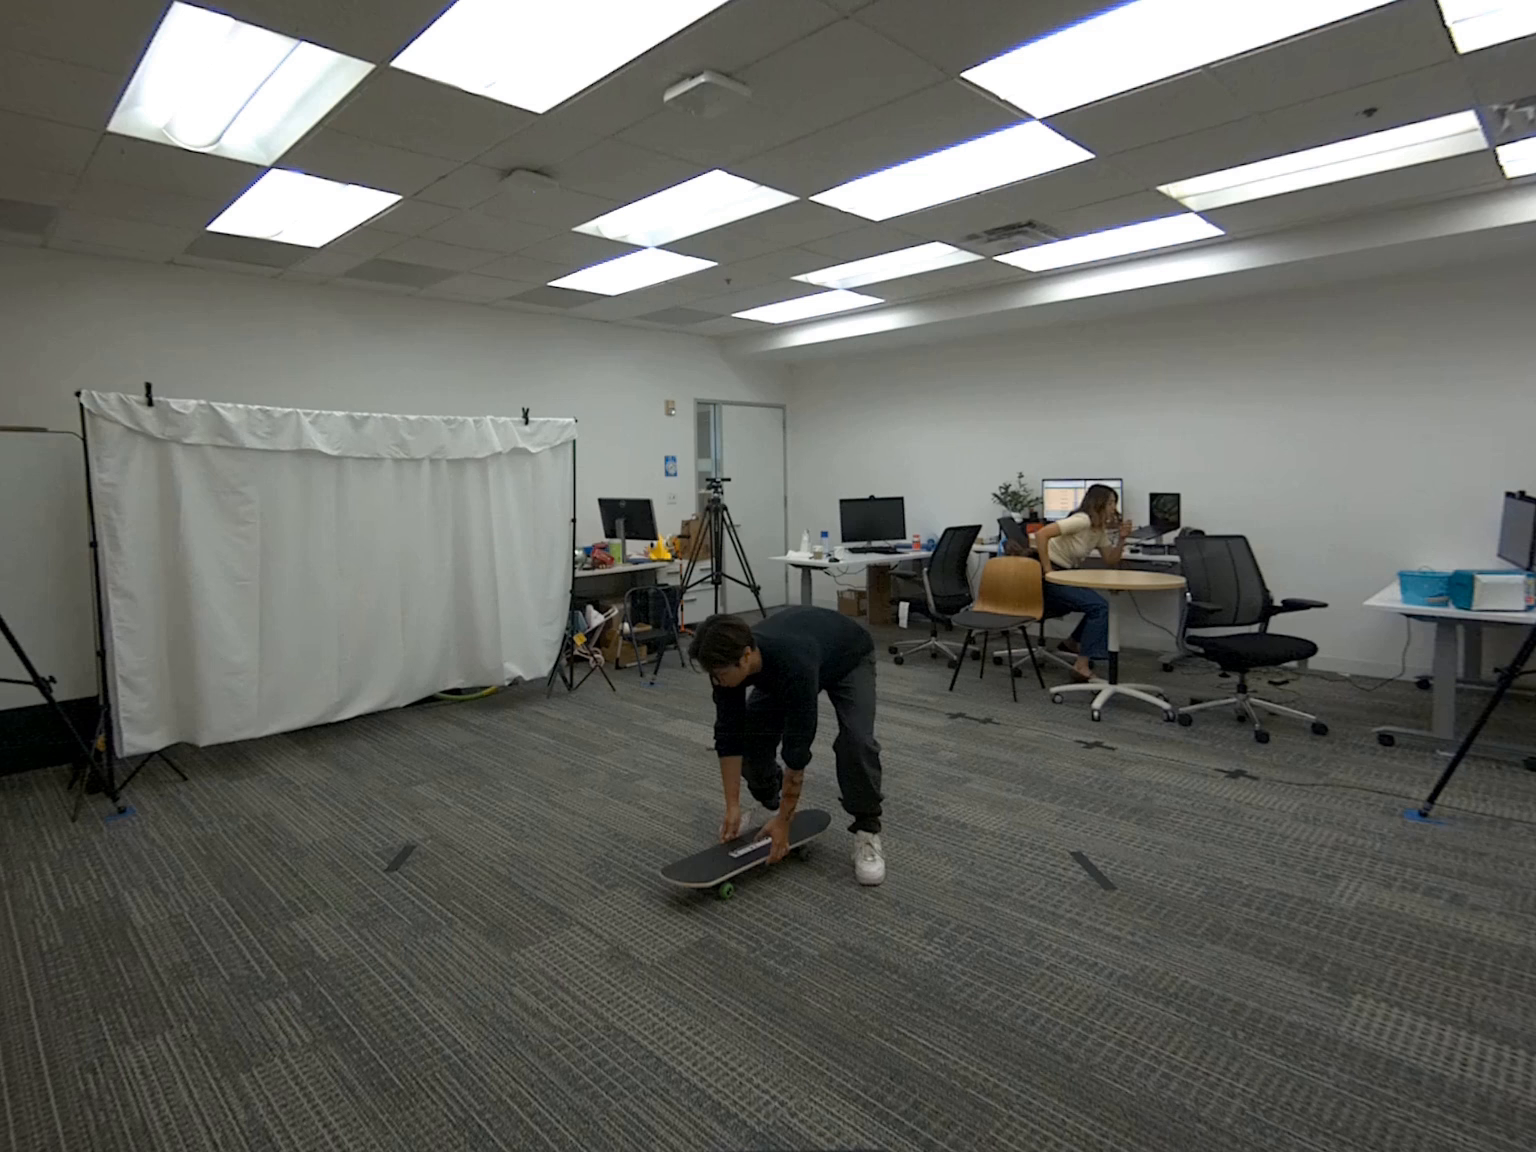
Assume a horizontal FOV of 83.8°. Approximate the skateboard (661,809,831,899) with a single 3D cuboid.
[{"bbox_3d":[-0.055,0.990,3.036,0.199,0.110,0.765,5,9,45],"label":"skateboard"}]
